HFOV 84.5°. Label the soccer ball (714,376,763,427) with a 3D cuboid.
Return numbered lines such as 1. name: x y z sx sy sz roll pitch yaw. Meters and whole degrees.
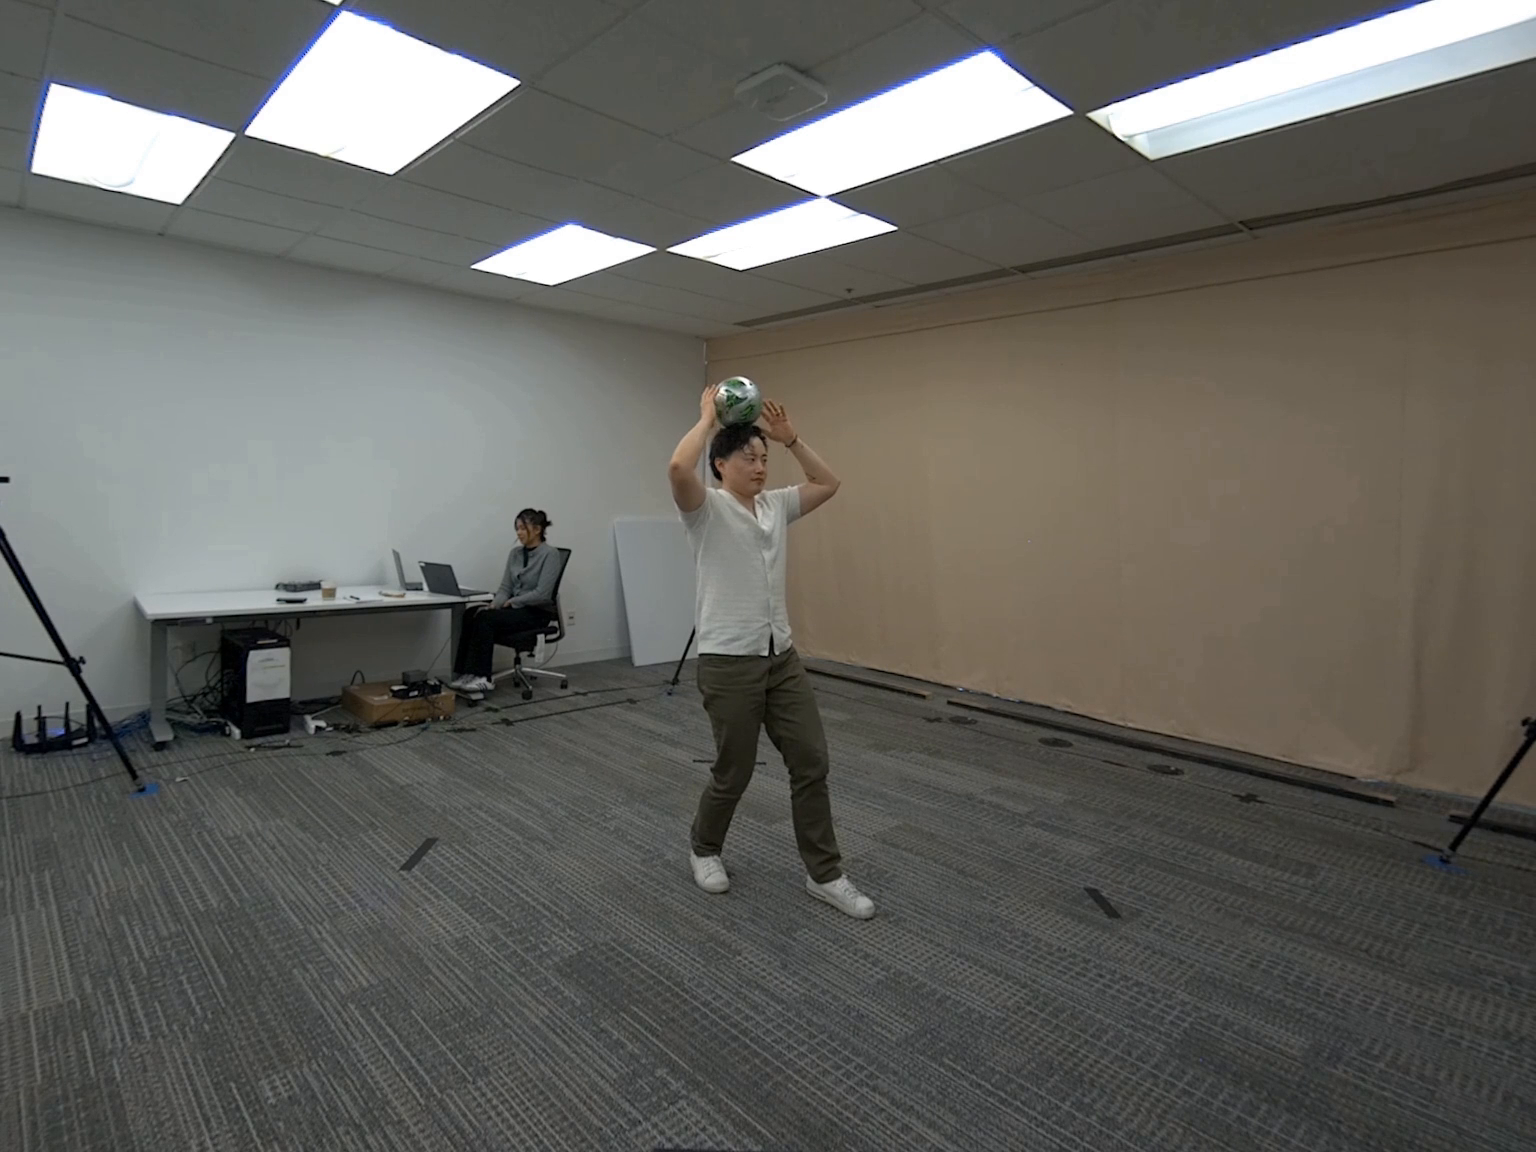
1. soccer ball: -0.123 -0.613 3.000 0.187 0.187 0.188 1 4 -1
